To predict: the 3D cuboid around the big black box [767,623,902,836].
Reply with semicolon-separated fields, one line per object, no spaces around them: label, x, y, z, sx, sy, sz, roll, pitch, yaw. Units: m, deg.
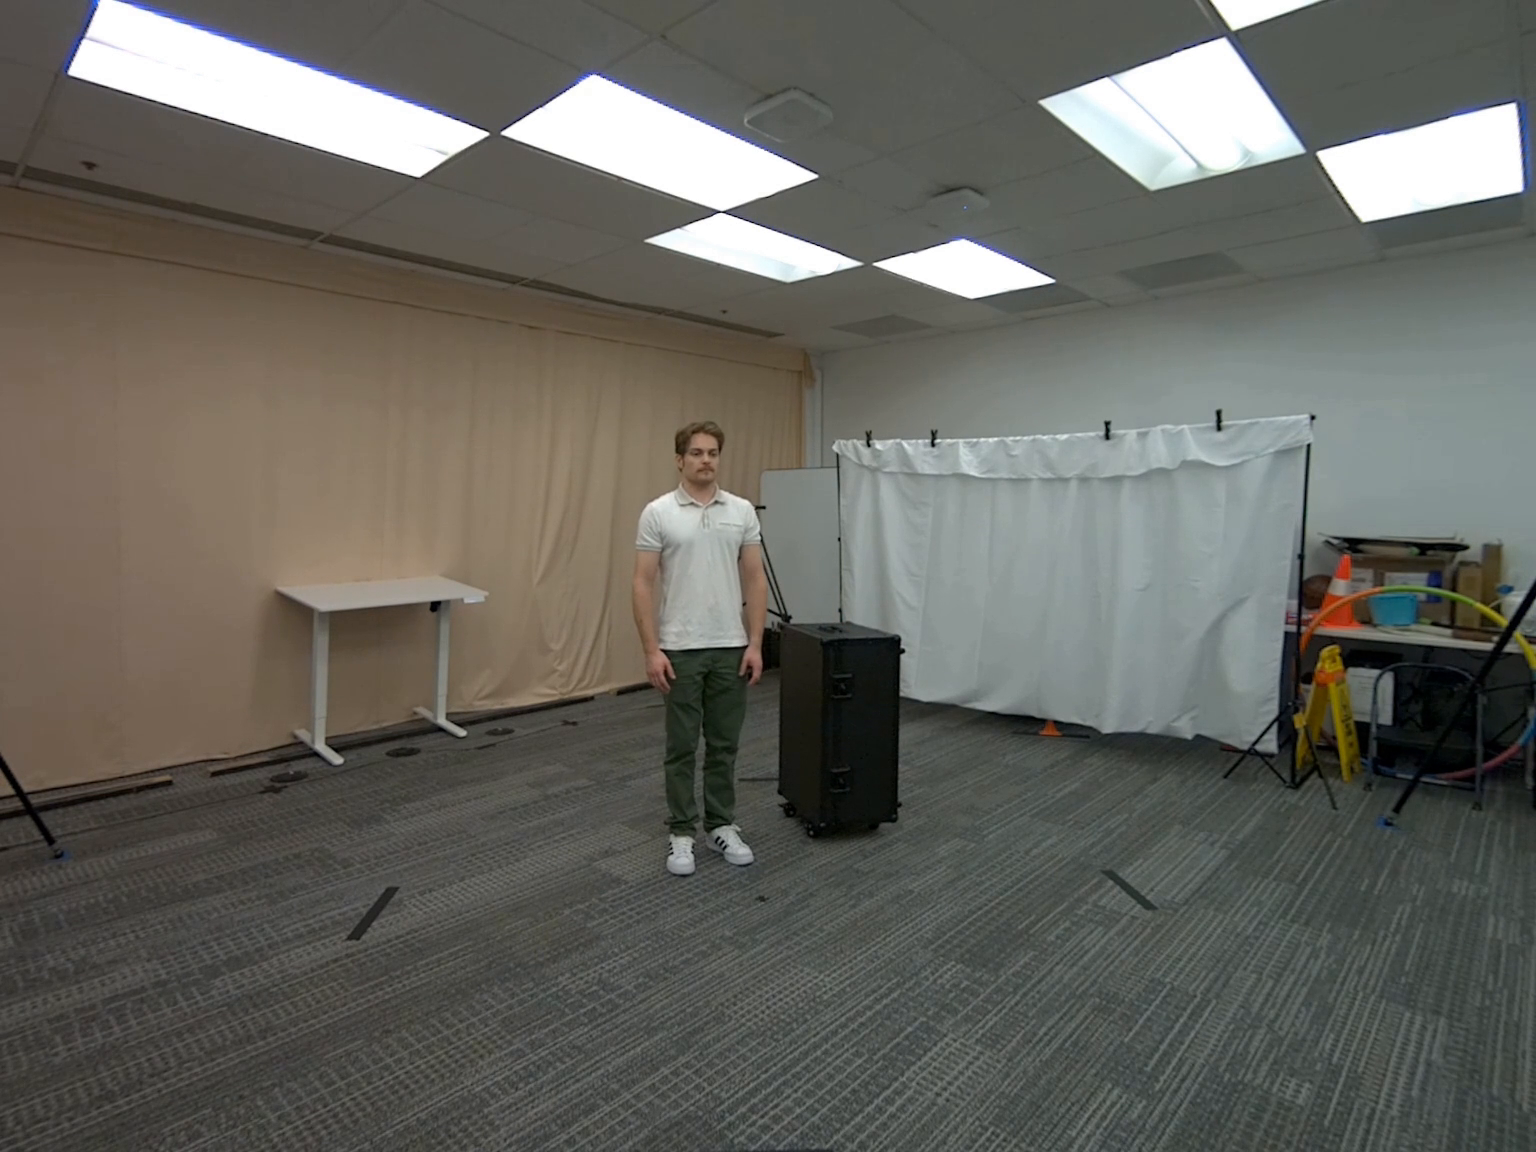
big black box;0.312;0.666;3.704;0.377;0.867;0.535;0;3;-21
